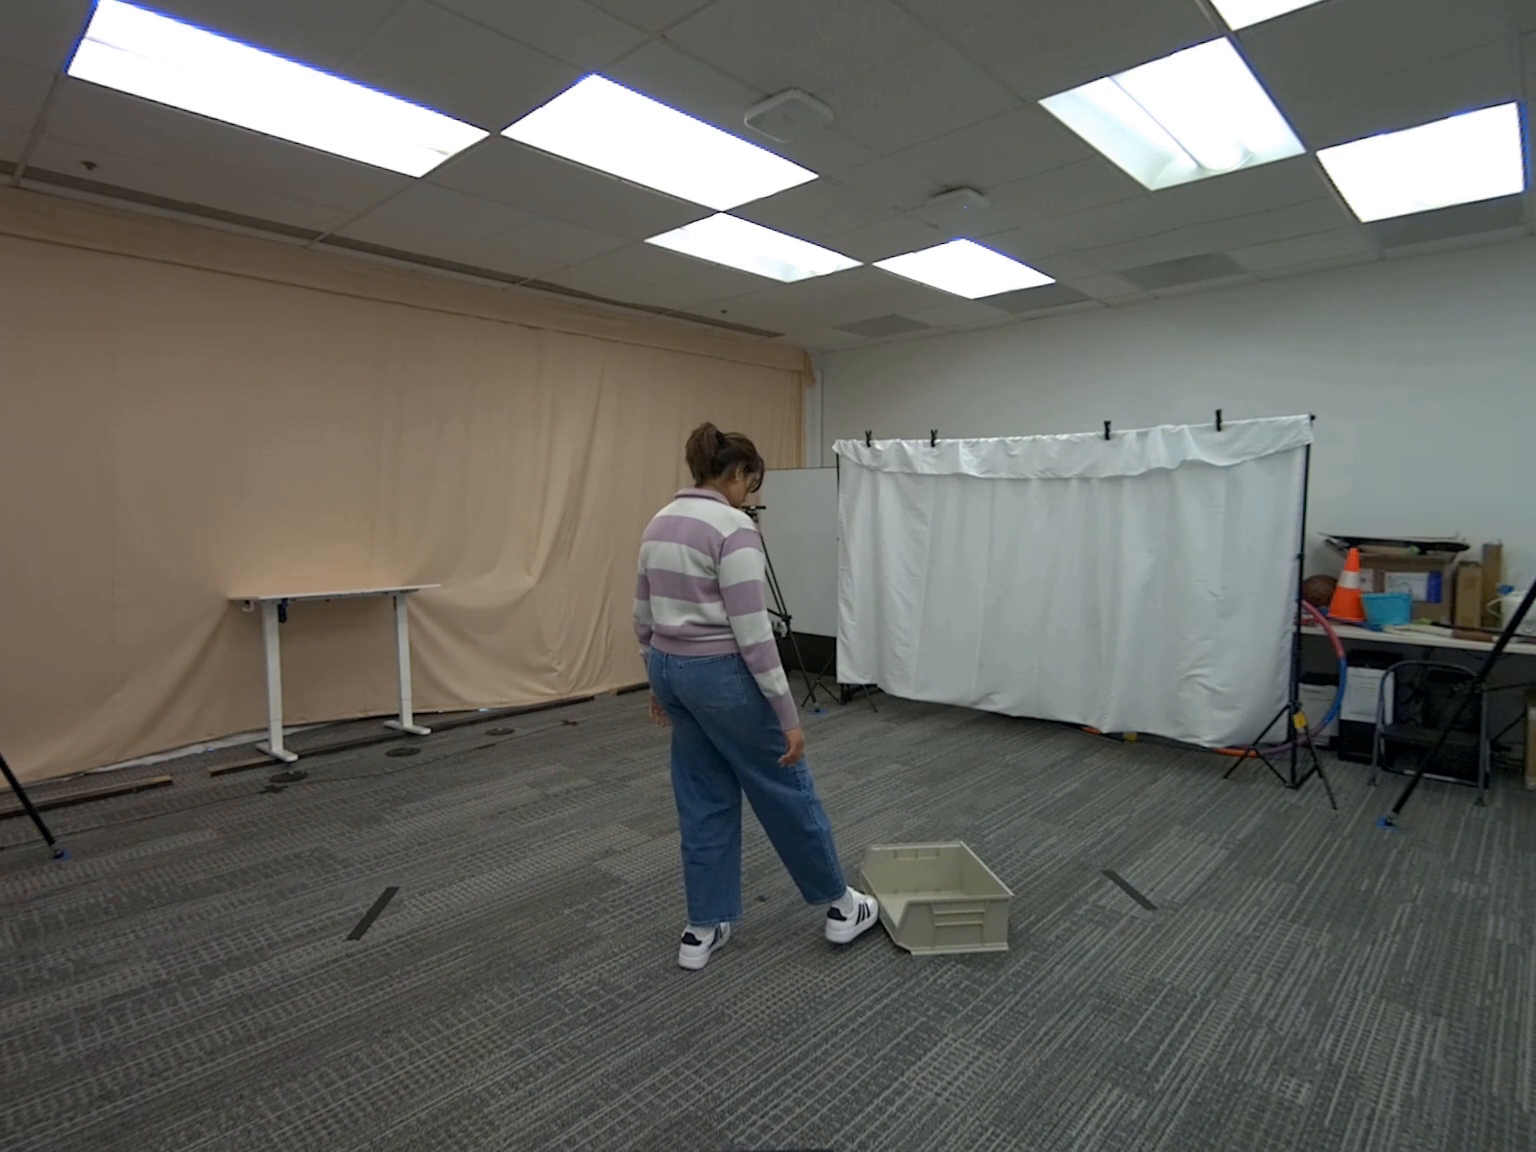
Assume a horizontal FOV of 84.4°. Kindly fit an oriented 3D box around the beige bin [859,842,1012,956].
[{"bbox_3d":[0.542,1.066,2.811,0.374,0.188,0.427,0,4,-8],"label":"beige bin"}]
